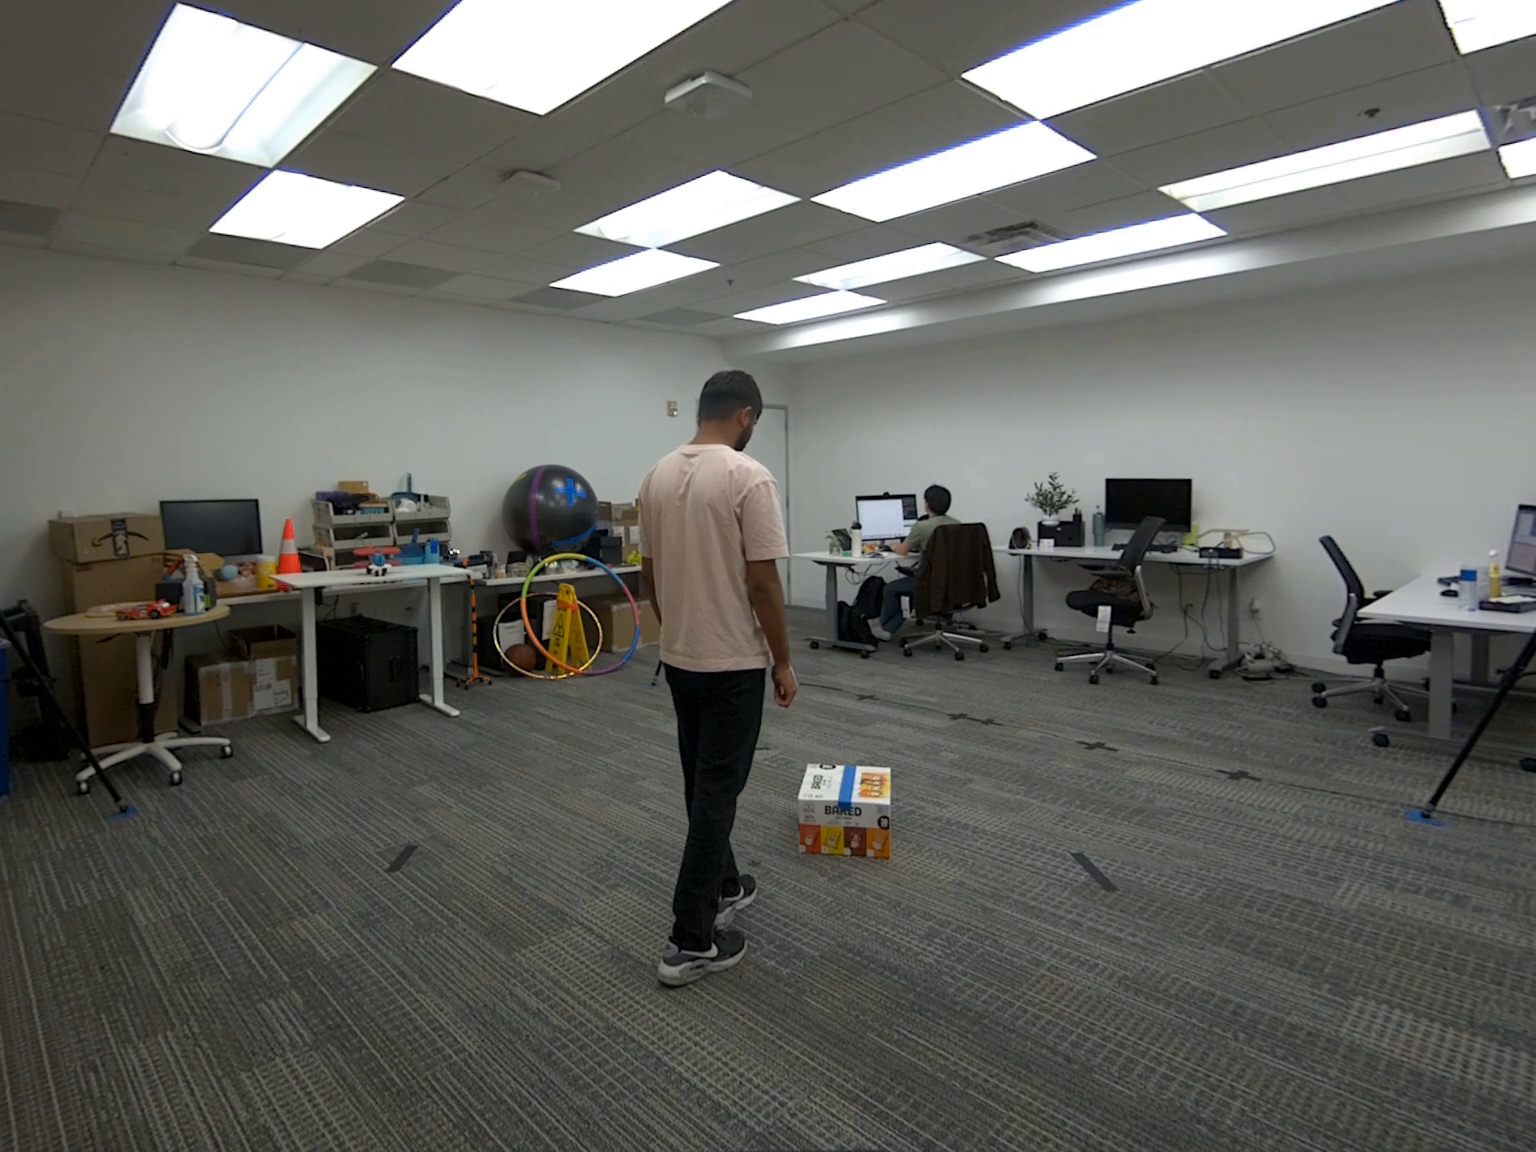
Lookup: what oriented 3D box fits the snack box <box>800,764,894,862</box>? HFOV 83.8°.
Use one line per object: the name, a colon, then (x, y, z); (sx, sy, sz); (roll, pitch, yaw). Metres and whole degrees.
snack box: (0.316, 0.912, 3.350); (0.344, 0.205, 0.403); (0, 6, 9)
